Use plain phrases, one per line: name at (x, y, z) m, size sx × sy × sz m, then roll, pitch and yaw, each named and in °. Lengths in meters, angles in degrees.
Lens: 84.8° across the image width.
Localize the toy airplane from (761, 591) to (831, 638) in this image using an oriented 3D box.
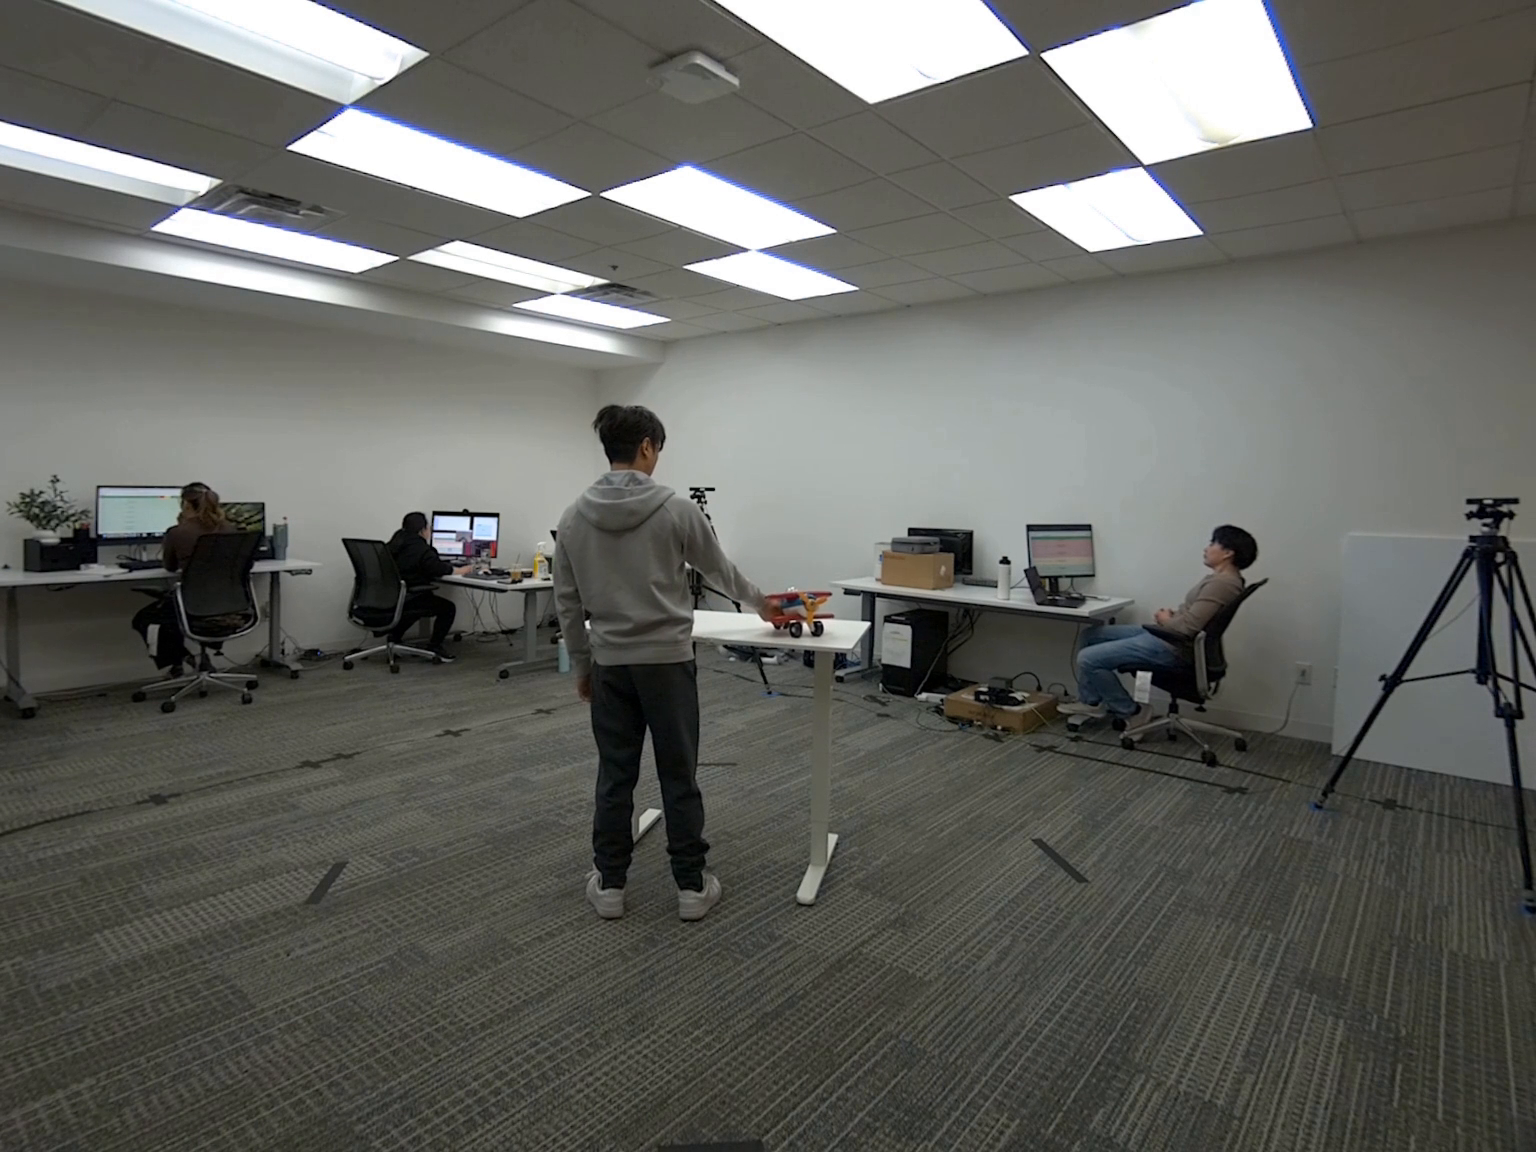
toy airplane at (0.076, 0.126, 3.019) m, size 0.268 × 0.156 × 0.244 m, roll 7°, pitch 7°, yaw 37°
